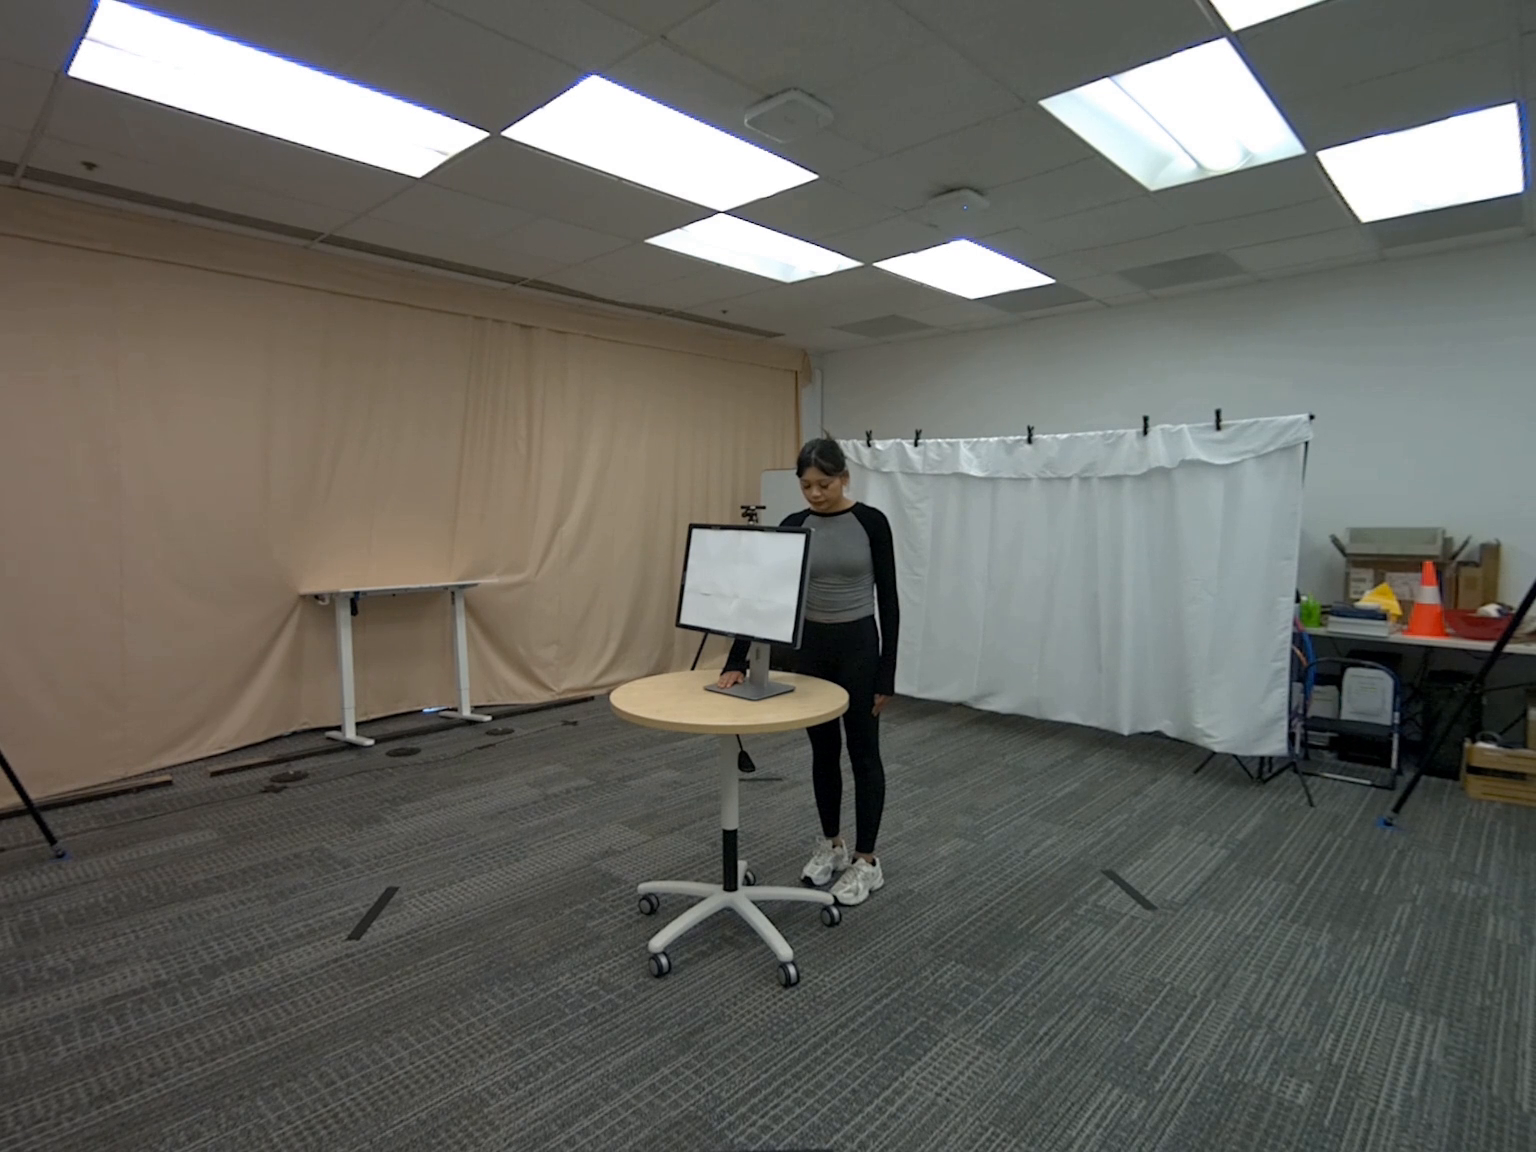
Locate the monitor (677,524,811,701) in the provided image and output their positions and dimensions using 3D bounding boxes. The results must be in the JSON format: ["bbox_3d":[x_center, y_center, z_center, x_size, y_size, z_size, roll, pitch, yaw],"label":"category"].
[{"bbox_3d":[-0.060,0.108,2.744,0.557,0.521,0.181,4,7,44],"label":"monitor"}]
